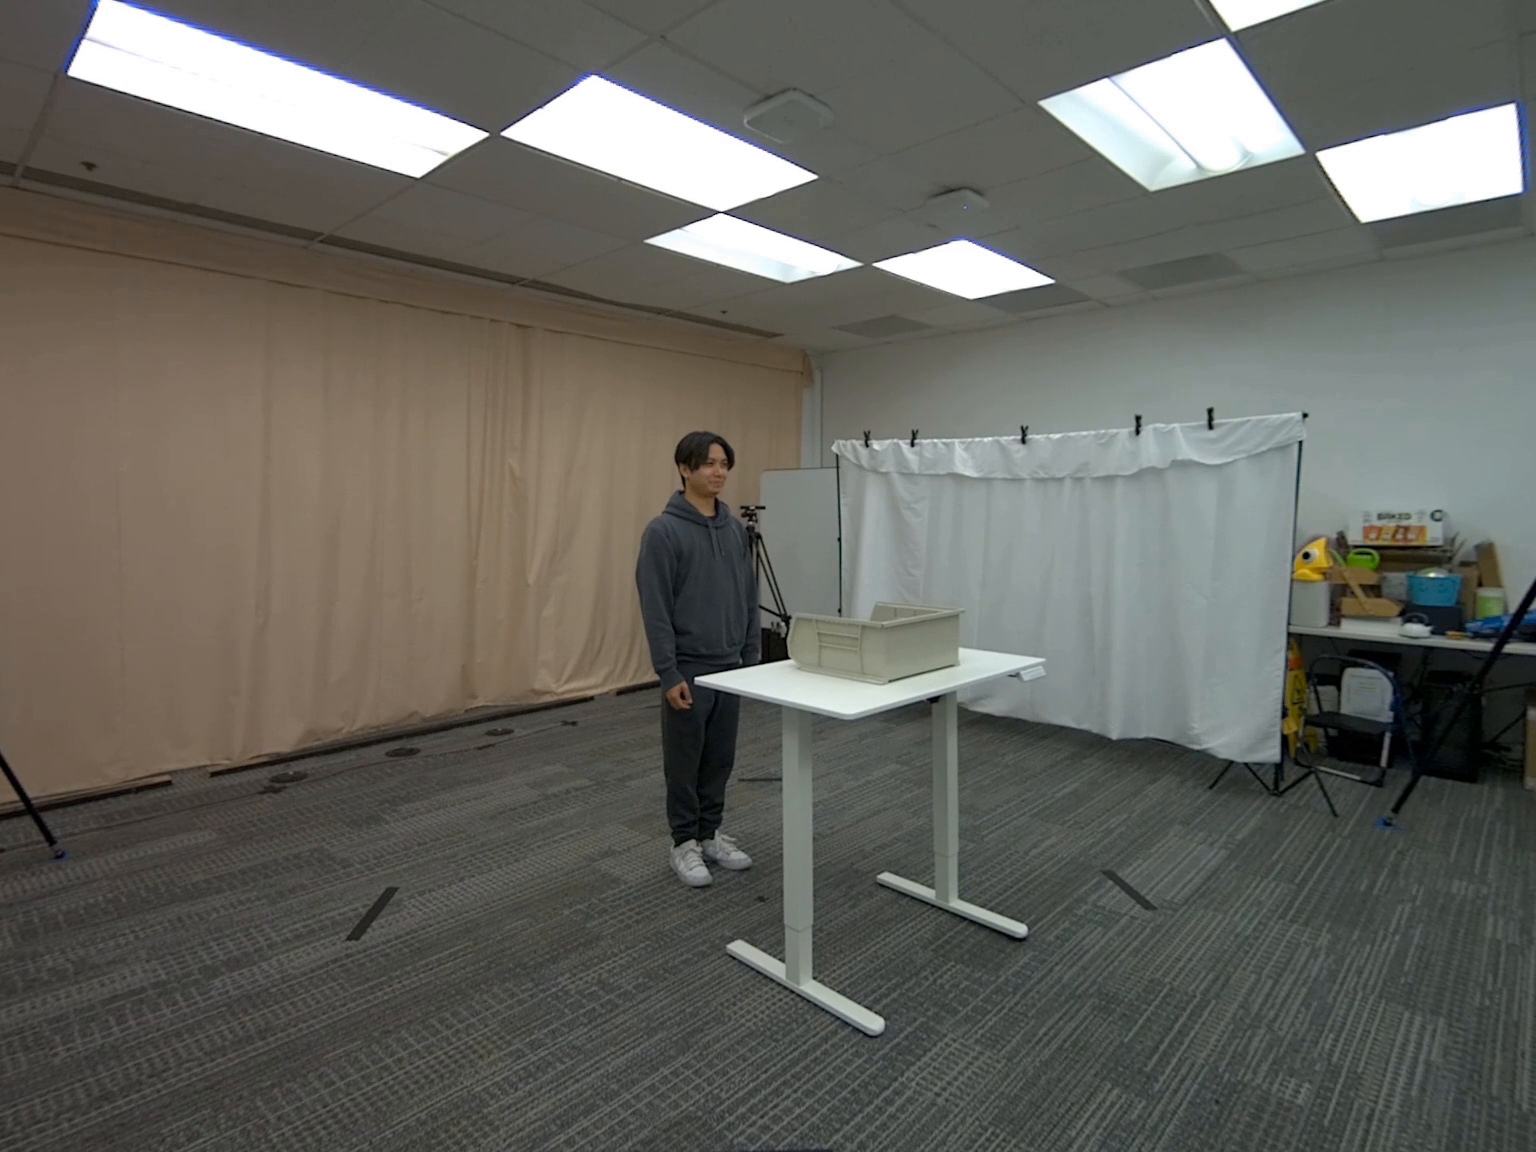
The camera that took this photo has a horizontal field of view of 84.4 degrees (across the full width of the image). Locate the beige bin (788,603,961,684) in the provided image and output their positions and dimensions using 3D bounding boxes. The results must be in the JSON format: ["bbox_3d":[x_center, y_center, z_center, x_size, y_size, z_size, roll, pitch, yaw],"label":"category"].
[{"bbox_3d":[0.342,0.201,2.644,0.409,0.188,0.390,-5,7,-44],"label":"beige bin"}]
